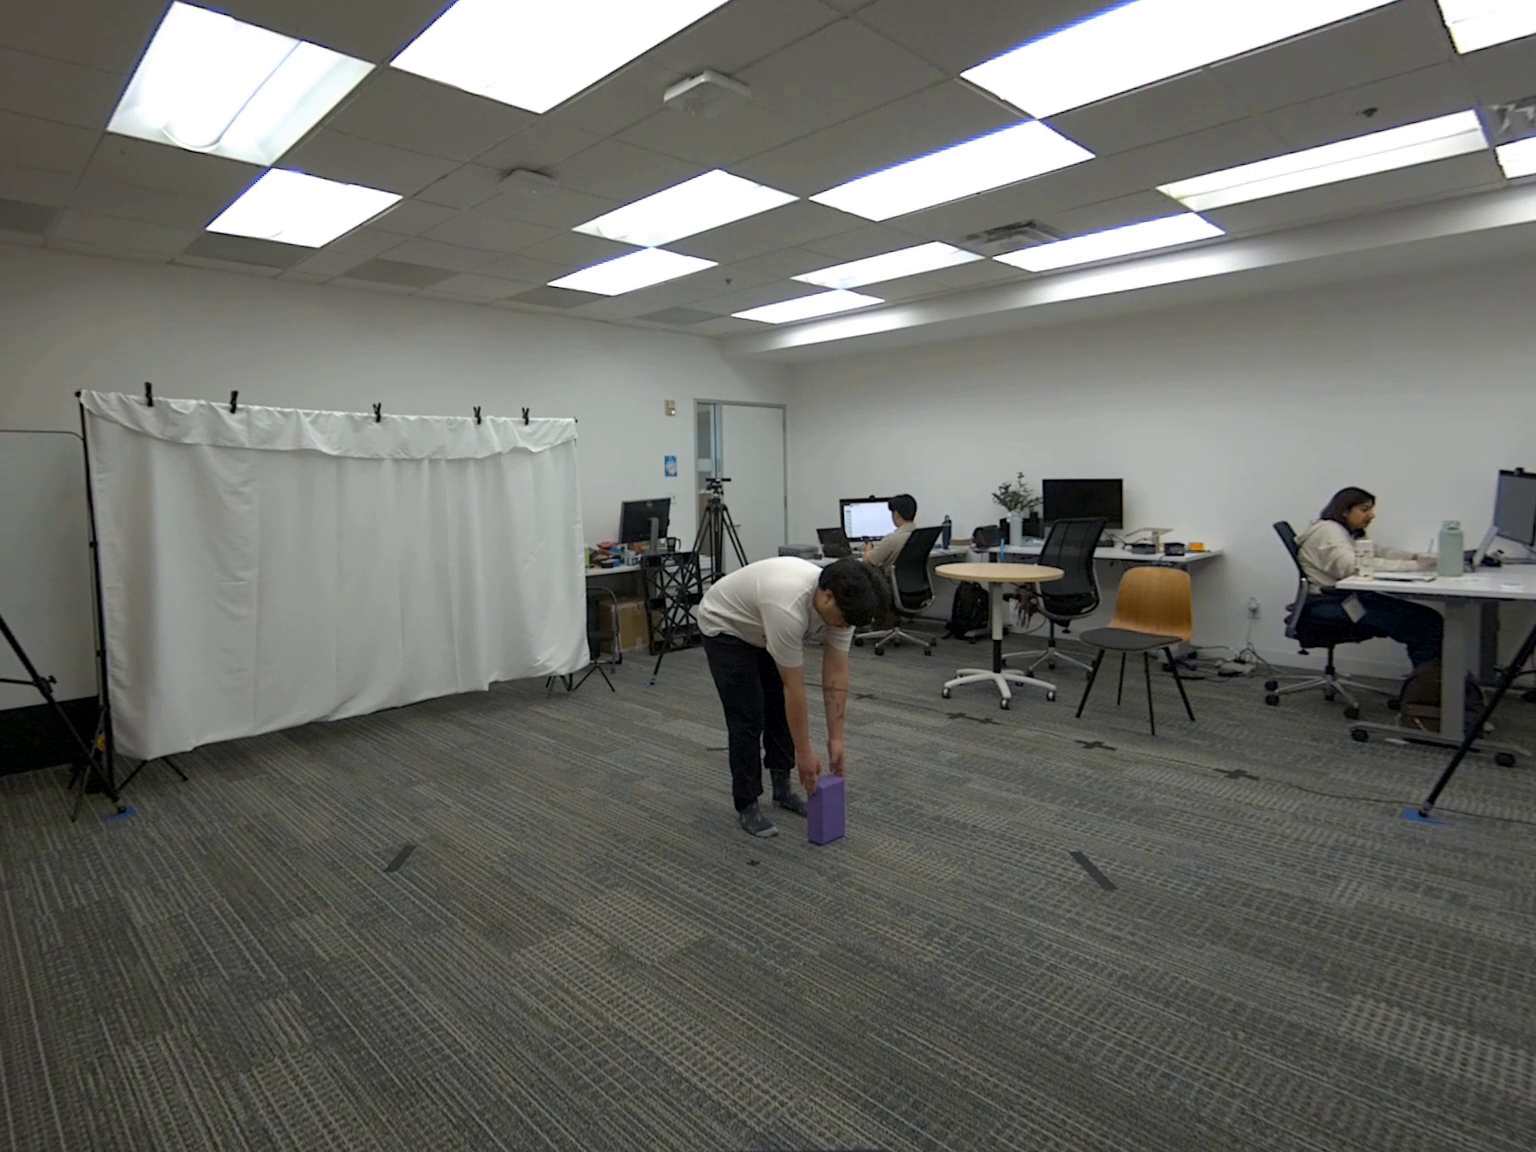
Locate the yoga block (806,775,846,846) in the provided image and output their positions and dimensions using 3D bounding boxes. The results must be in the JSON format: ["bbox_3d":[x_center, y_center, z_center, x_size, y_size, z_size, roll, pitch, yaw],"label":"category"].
[{"bbox_3d":[0.228,0.905,3.305,0.145,0.229,0.078,-3,2,-45],"label":"yoga block"}]
